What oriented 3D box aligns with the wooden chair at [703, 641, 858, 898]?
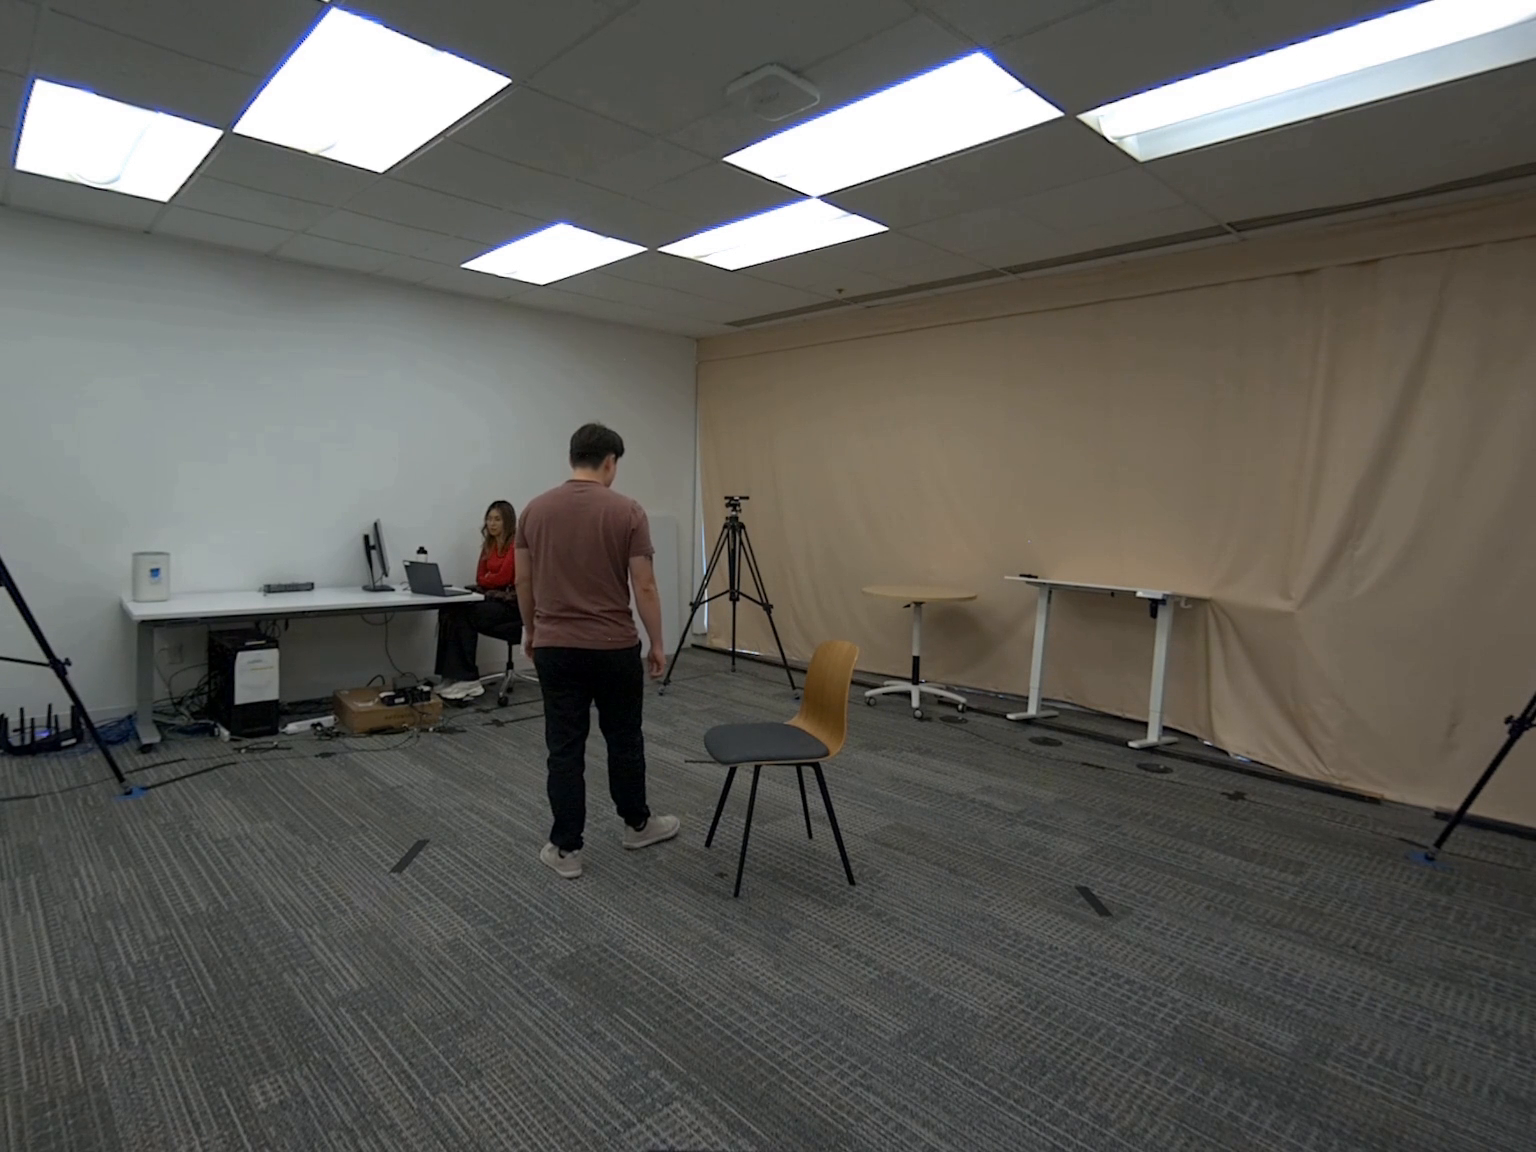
[{"bbox_3d":[0.030,0.676,3.166,0.516,0.876,0.485,4,3,-17],"label":"wooden chair"}]
